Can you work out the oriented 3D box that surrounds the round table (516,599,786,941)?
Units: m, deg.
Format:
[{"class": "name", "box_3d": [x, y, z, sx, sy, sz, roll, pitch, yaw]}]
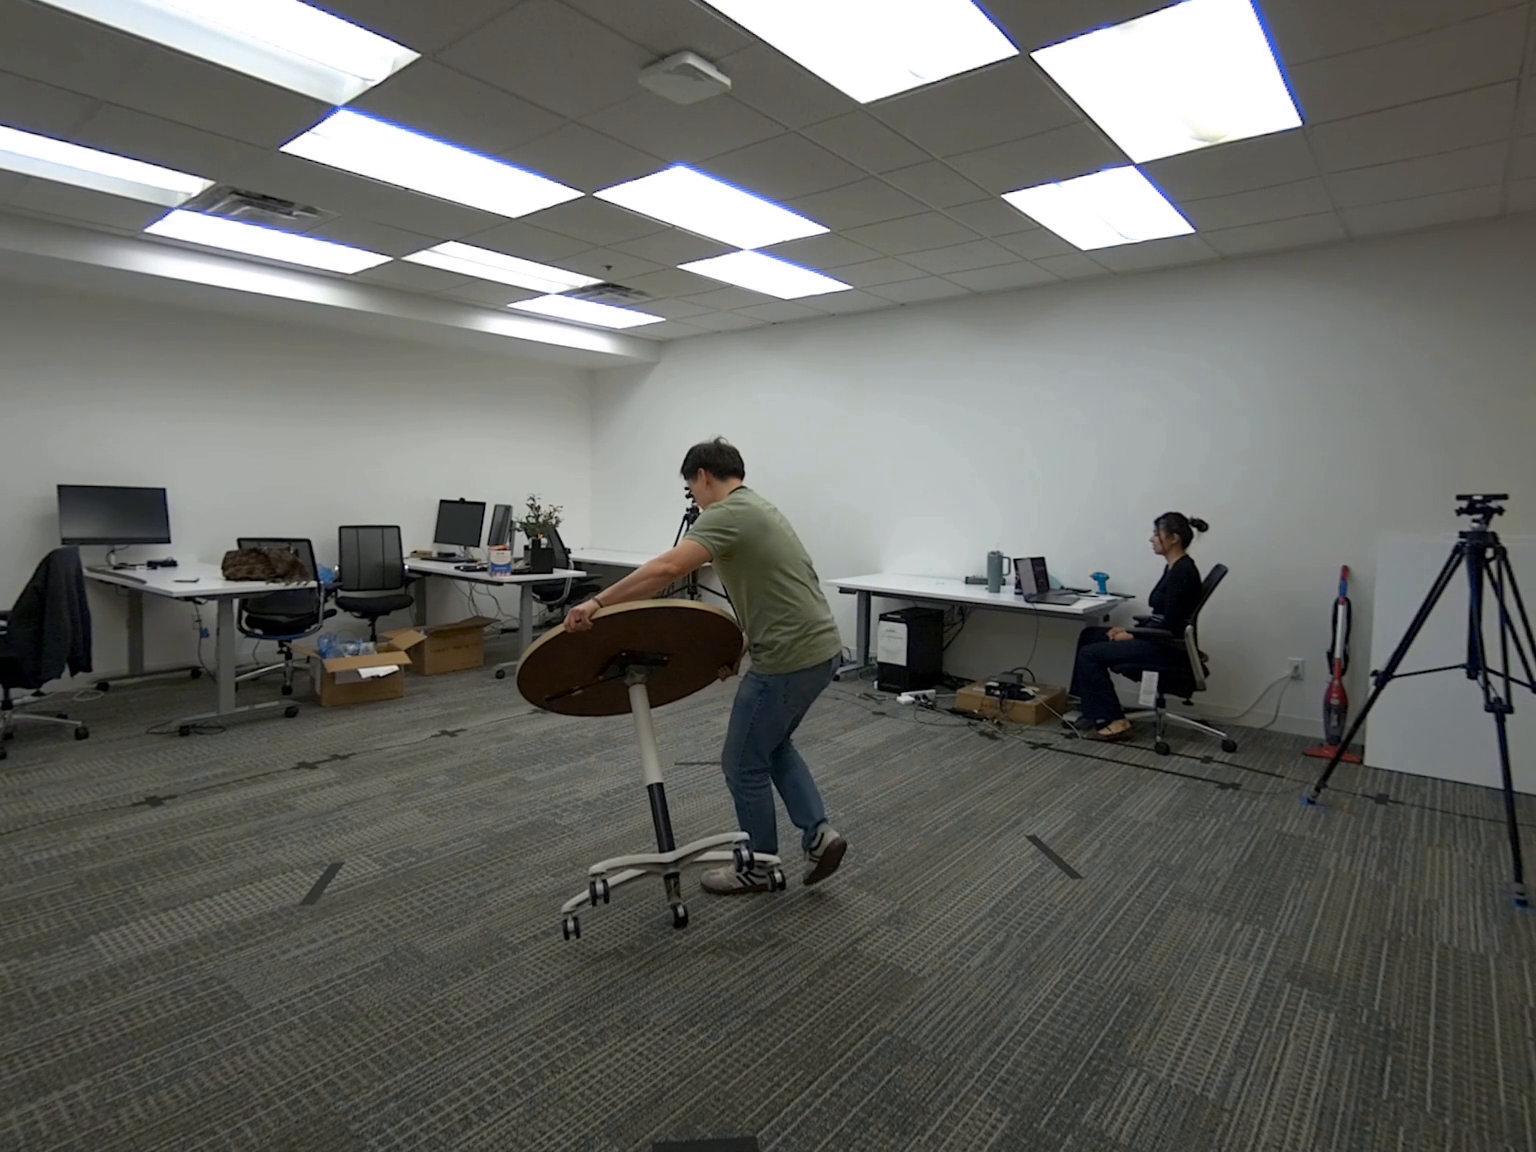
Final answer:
[{"class": "round table", "box_3d": [-0.368, 0.607, 2.639, 0.759, 0.820, 0.745, -11, -31, -9]}]
